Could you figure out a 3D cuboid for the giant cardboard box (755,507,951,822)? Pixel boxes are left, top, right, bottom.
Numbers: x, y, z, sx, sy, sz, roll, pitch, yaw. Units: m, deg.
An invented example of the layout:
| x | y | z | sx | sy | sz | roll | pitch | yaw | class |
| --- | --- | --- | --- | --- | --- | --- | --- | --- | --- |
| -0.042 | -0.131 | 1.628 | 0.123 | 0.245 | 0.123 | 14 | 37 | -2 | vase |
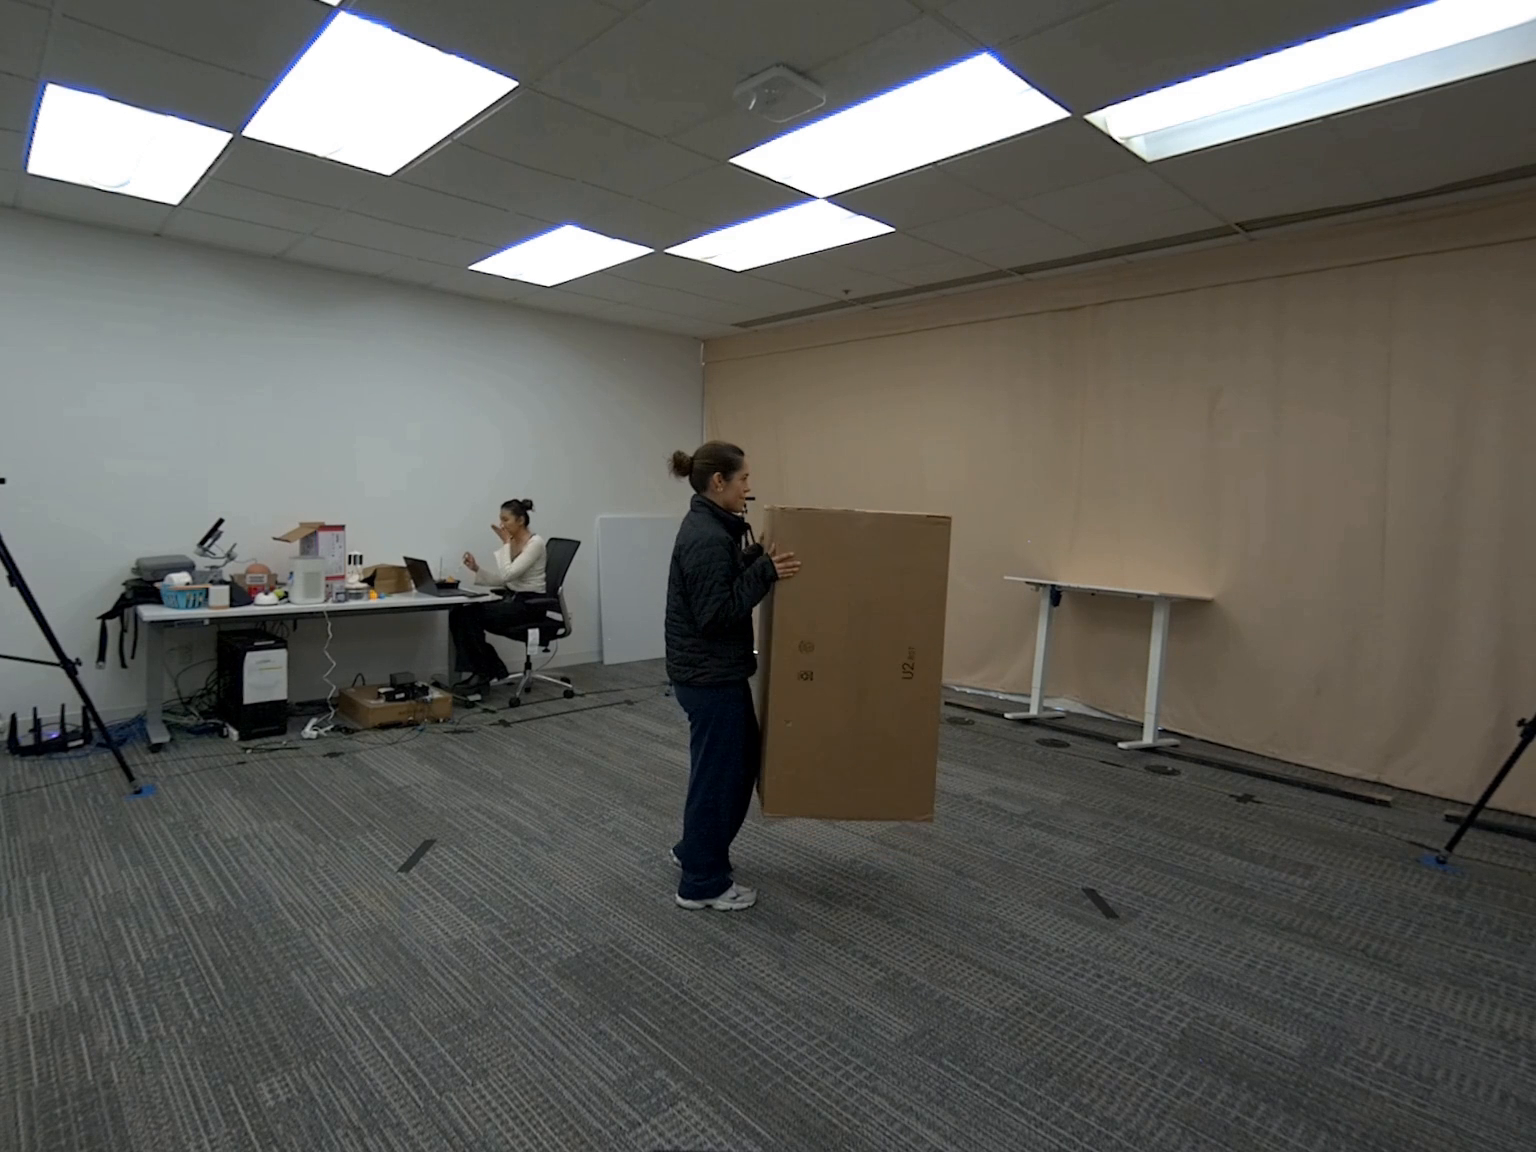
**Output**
| x | y | z | sx | sy | sz | roll | pitch | yaw | class |
| --- | --- | --- | --- | --- | --- | --- | --- | --- | --- |
| 0.263 | 0.281 | 2.951 | 0.576 | 1.023 | 0.428 | 2 | 4 | -4 | giant cardboard box |
